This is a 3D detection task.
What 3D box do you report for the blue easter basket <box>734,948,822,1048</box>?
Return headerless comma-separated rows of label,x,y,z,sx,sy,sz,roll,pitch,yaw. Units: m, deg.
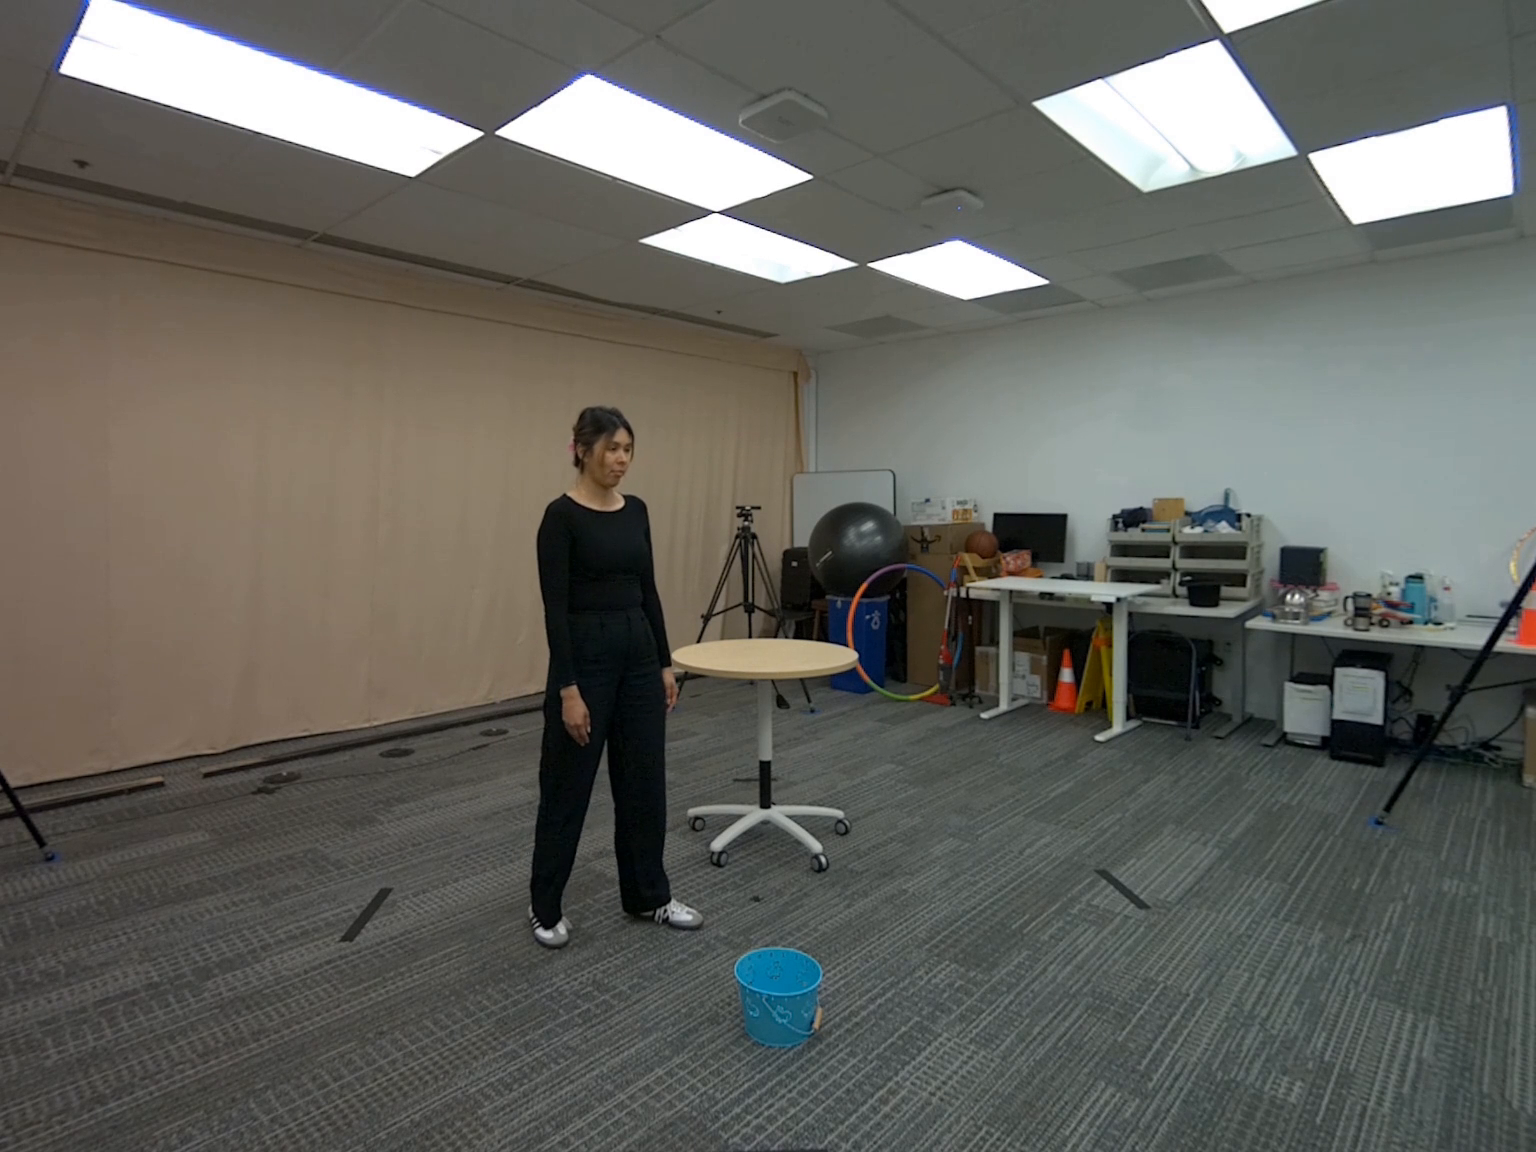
blue easter basket,0.037,1.129,2.245,0.243,0.155,0.244,0,4,-2
